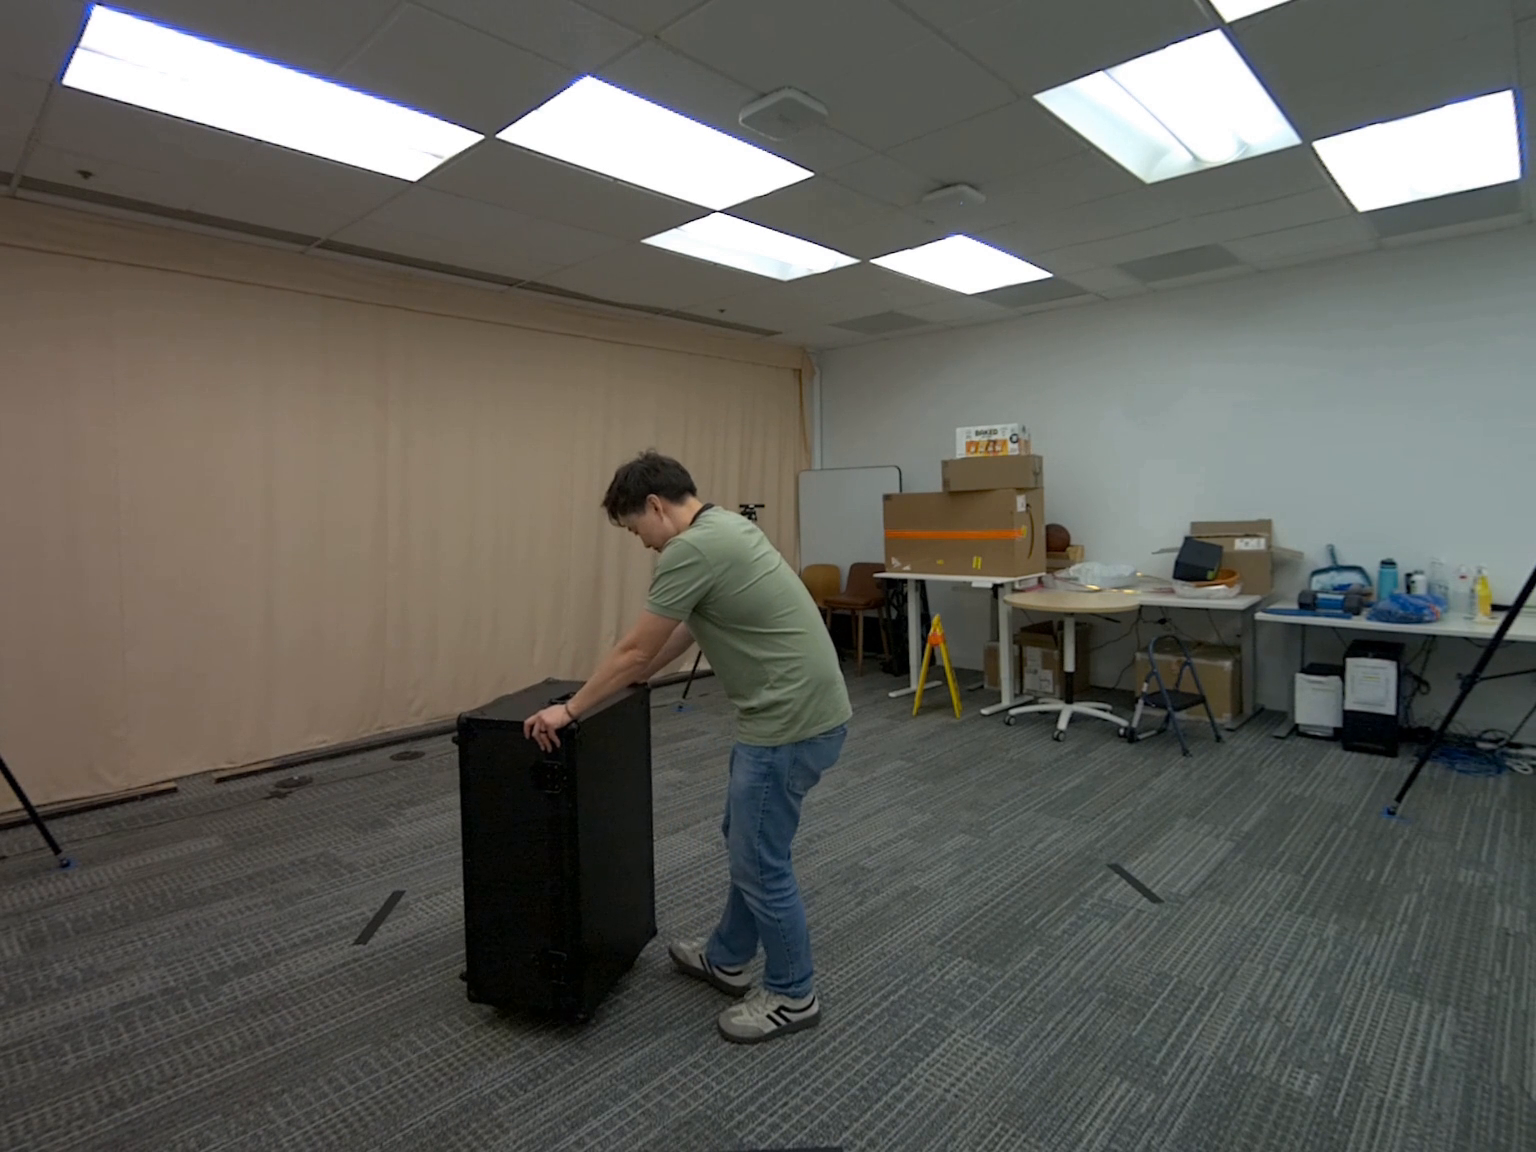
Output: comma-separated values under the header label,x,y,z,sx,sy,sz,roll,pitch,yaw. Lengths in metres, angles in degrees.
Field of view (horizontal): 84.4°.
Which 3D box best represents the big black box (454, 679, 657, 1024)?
label,x,y,z,sx,sy,sz,roll,pitch,yaw
big black box,-0.601,0.774,2.420,0.404,0.860,0.512,-1,3,17
